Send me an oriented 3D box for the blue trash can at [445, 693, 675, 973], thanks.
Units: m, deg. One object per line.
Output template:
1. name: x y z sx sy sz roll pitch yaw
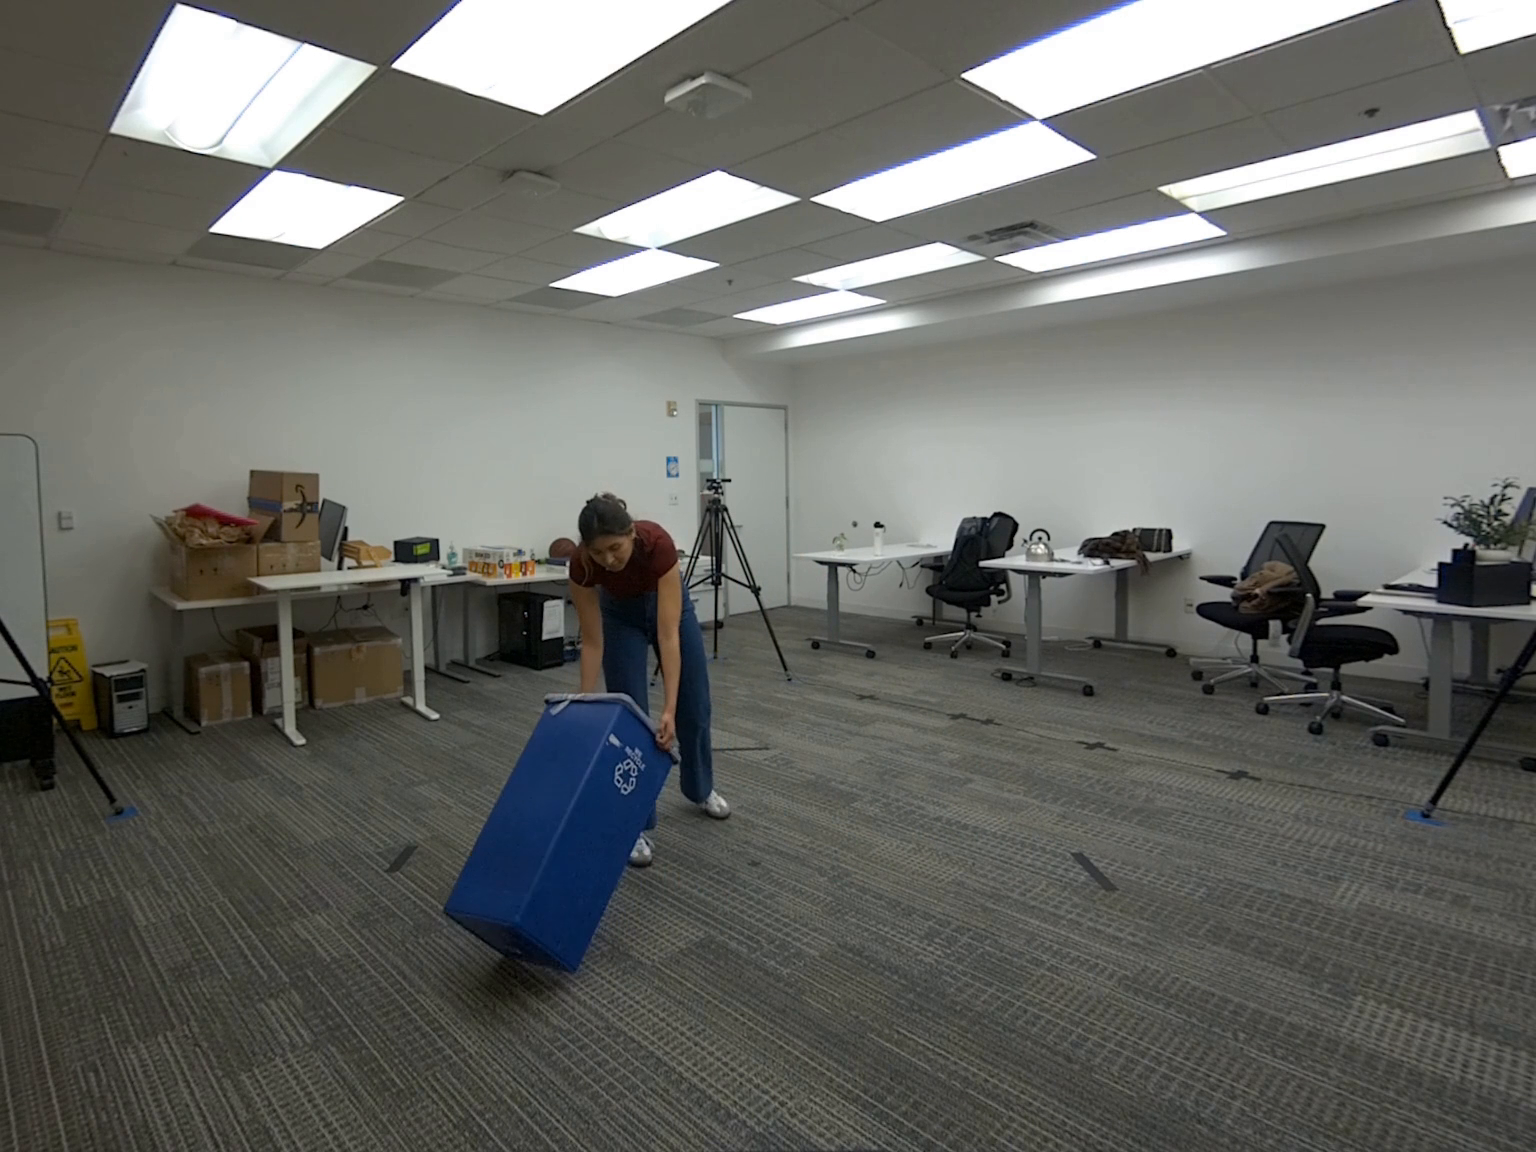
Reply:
1. blue trash can: -0.604 0.763 2.605 0.387 0.361 0.722 -6 44 32
